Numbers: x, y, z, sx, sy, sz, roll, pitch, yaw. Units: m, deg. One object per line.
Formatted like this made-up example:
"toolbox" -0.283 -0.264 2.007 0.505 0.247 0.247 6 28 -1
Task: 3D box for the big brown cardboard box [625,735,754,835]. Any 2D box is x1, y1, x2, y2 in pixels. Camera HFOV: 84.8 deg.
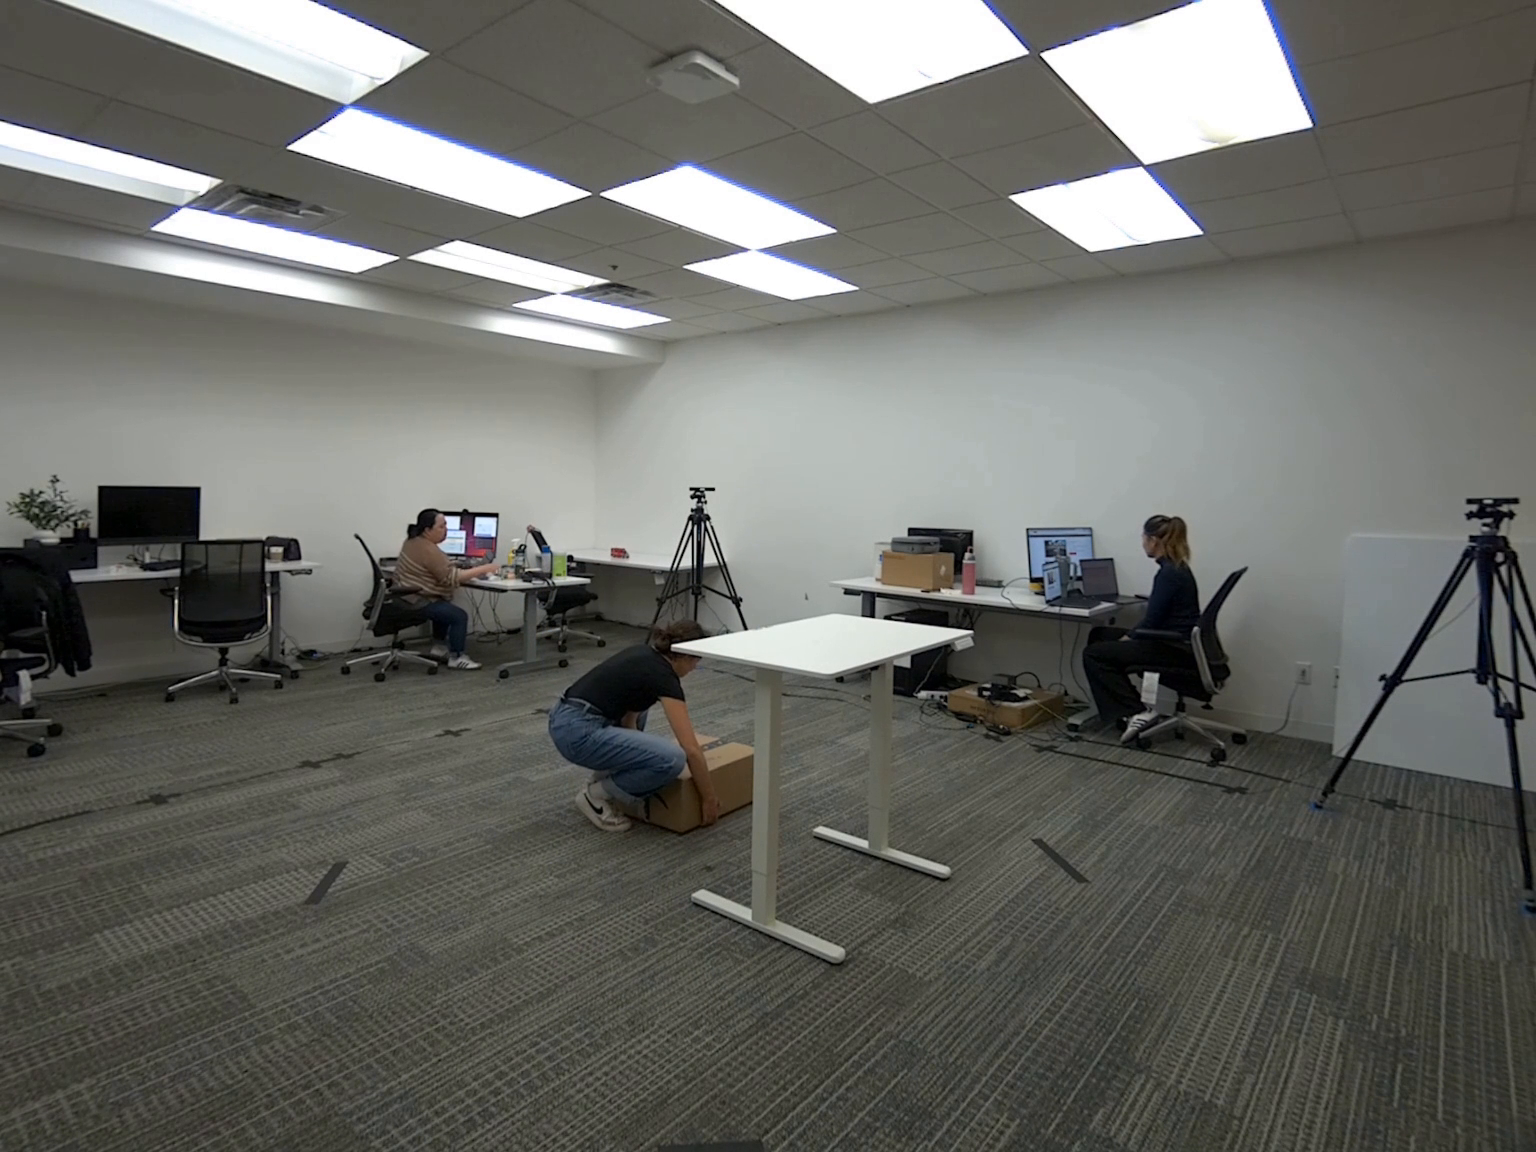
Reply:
"big brown cardboard box" -0.359 0.888 3.729 0.431 0.232 0.571 5 5 37
